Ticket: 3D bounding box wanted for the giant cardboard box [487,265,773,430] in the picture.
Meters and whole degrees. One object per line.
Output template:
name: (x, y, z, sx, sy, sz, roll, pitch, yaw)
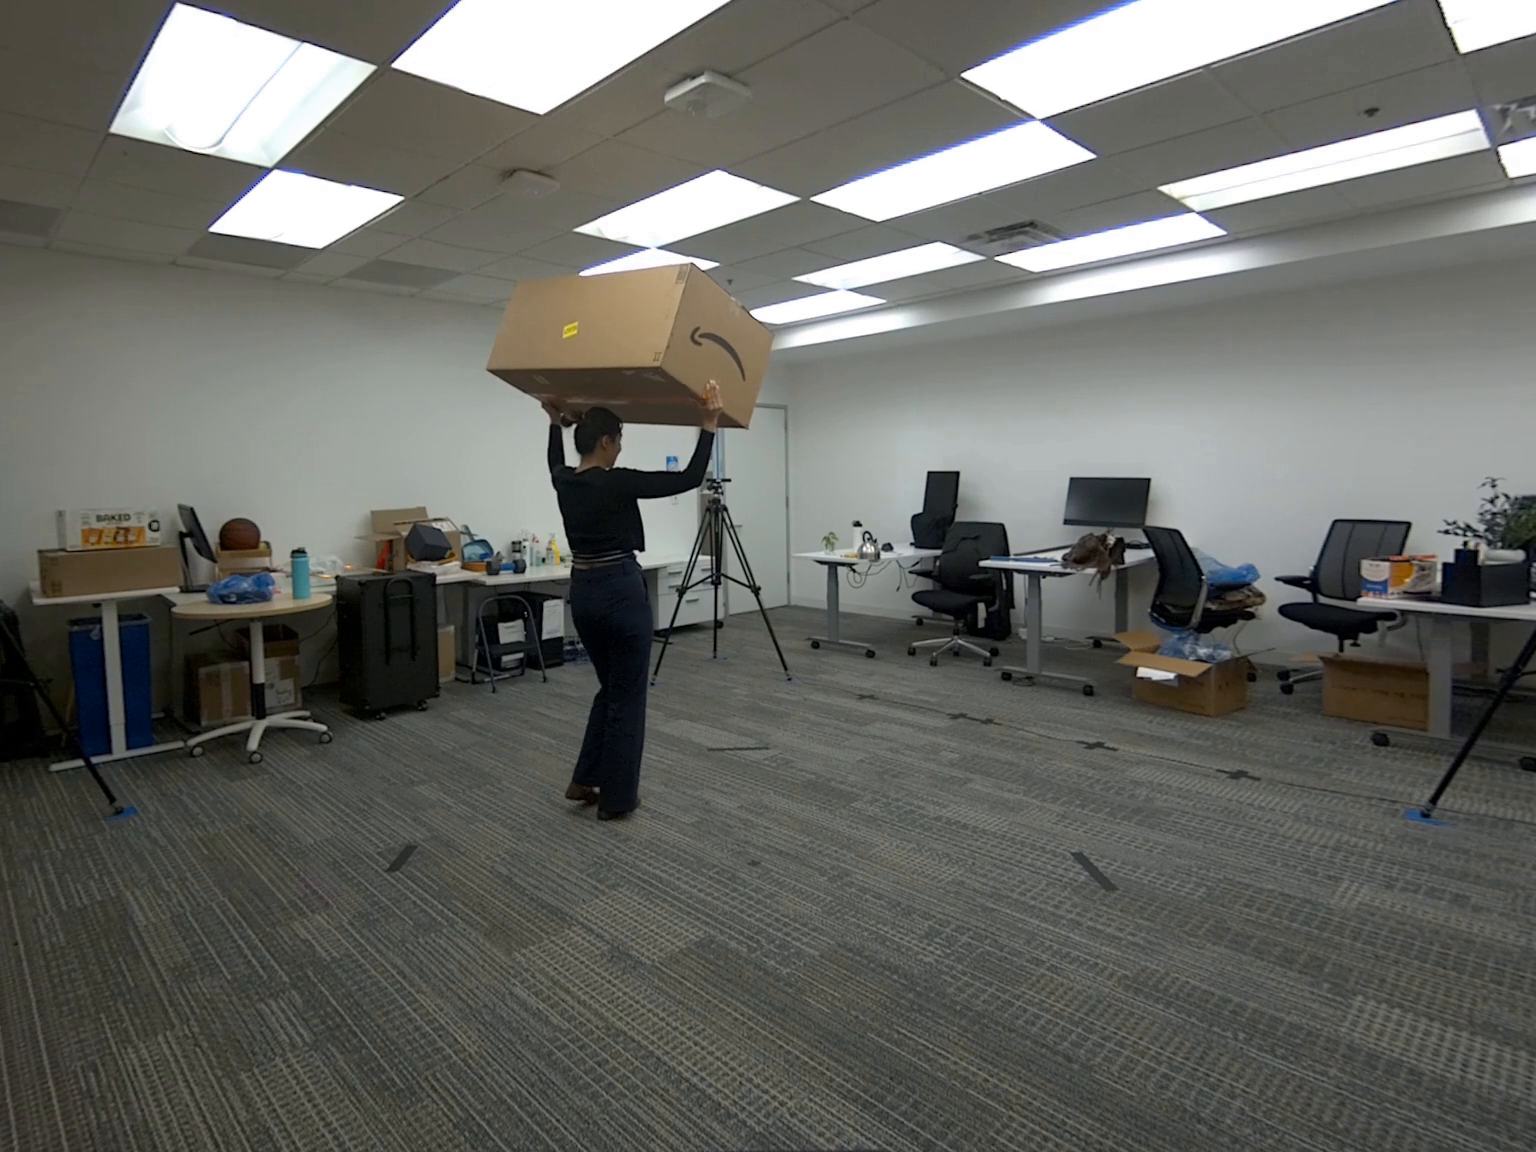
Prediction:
giant cardboard box: (-0.590, -0.928, 3.585, 1.059, 0.428, 0.556, 9, -10, 37)
